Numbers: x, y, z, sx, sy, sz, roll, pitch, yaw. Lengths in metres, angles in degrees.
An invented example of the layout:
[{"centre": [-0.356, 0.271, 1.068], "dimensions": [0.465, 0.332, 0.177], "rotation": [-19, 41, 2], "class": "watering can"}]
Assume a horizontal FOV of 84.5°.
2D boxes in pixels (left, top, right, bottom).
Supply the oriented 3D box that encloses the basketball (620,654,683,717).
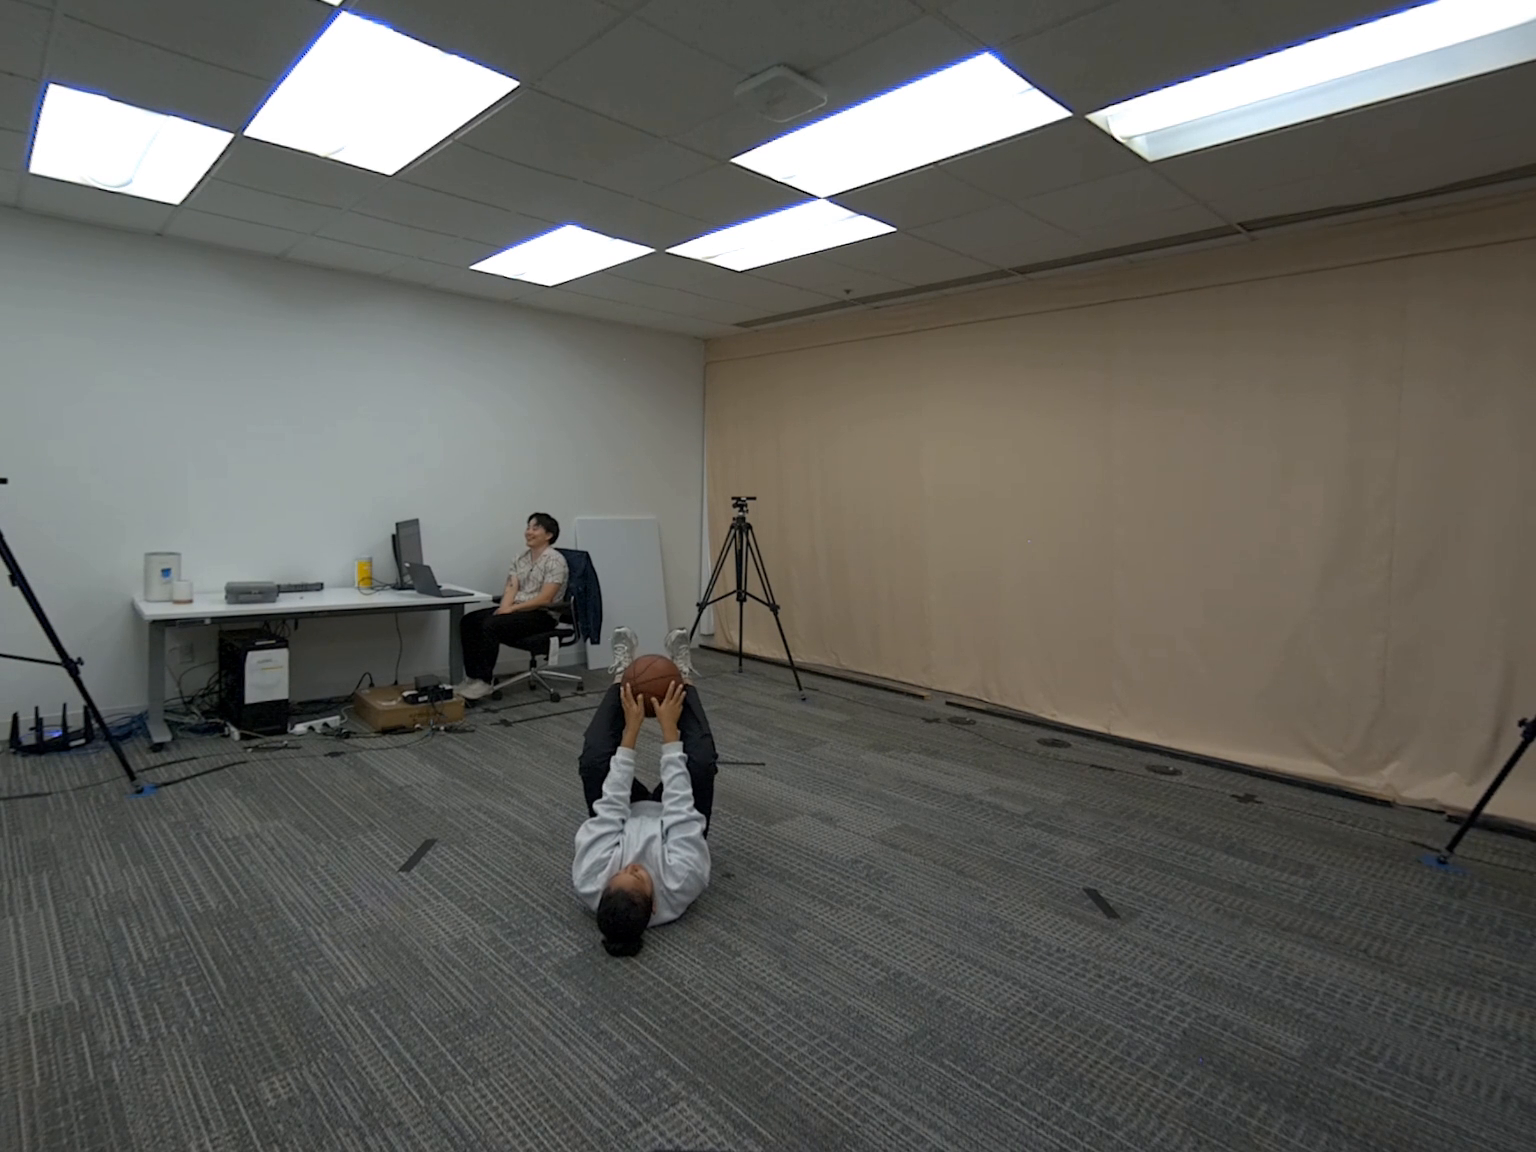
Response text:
[{"centre": [-0.445, 0.418, 3.198], "dimensions": [0.236, 0.235, 0.237], "rotation": [1, 4, -1], "class": "basketball"}]
